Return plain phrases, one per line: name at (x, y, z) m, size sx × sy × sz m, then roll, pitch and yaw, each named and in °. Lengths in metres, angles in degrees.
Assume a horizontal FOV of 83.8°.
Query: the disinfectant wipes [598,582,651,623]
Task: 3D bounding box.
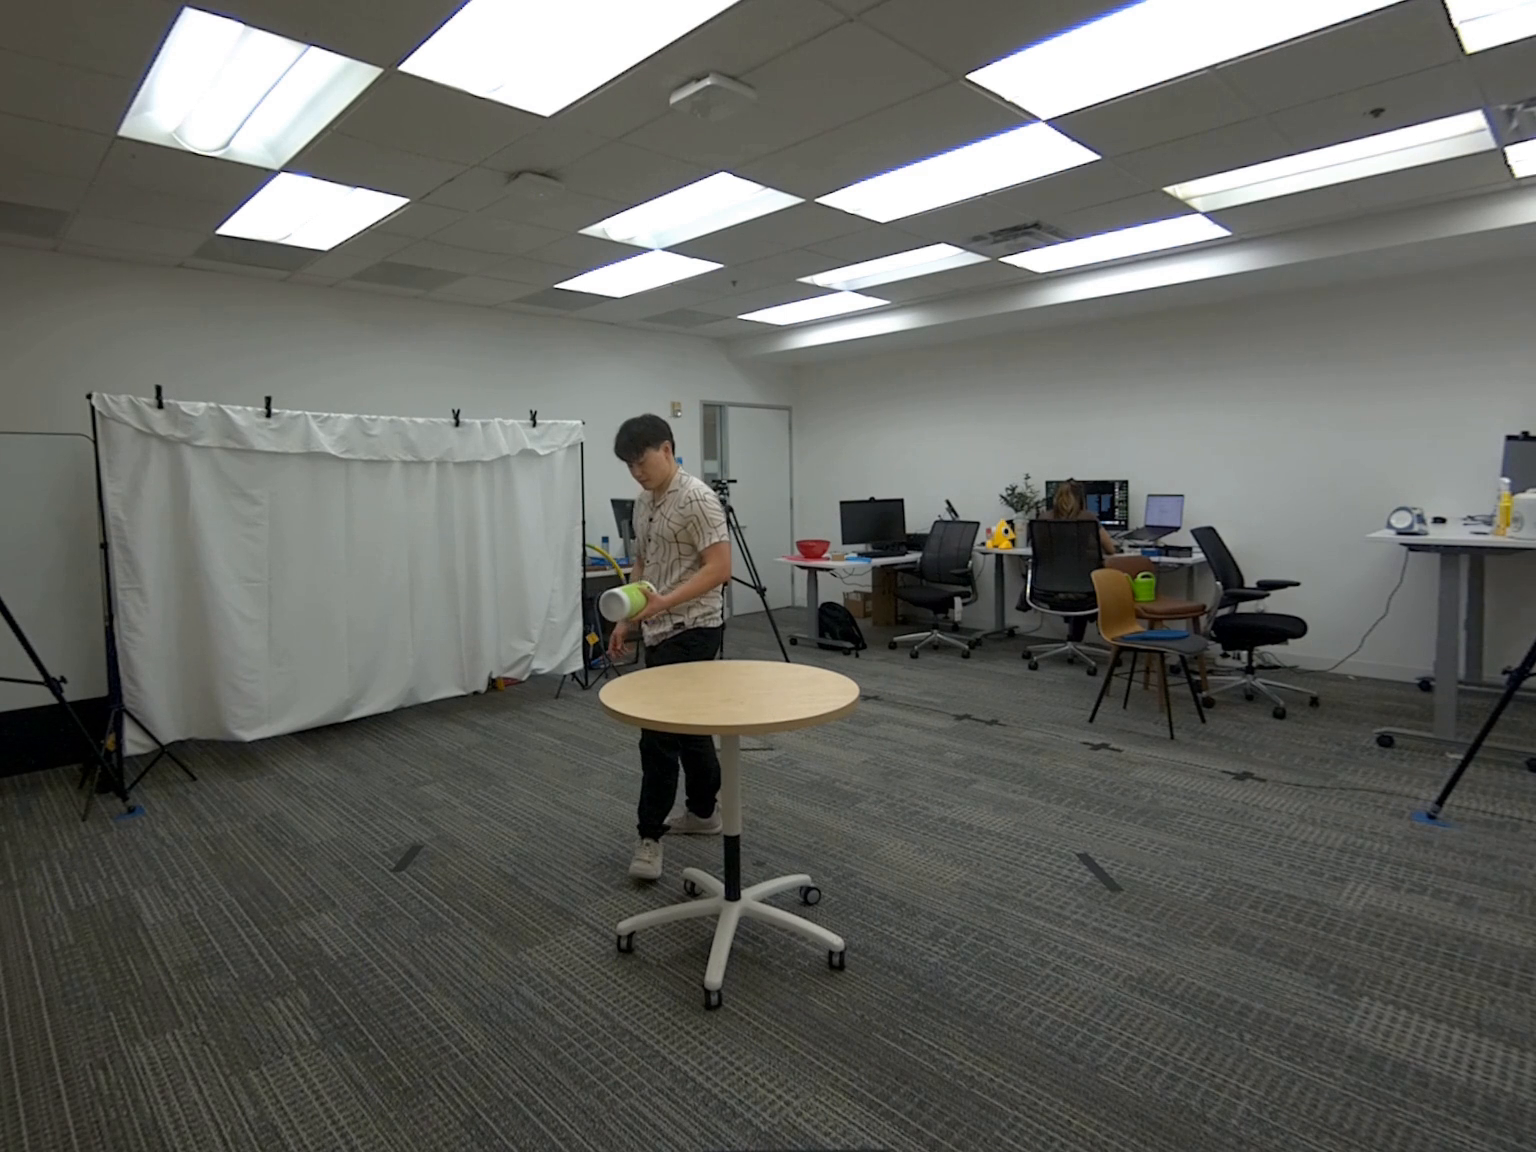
disinfectant wipes at (-0.479, 0.087, 2.934) m, size 0.120 × 0.117 × 0.214 m, roll 1°, pitch 6°, yaw 23°
